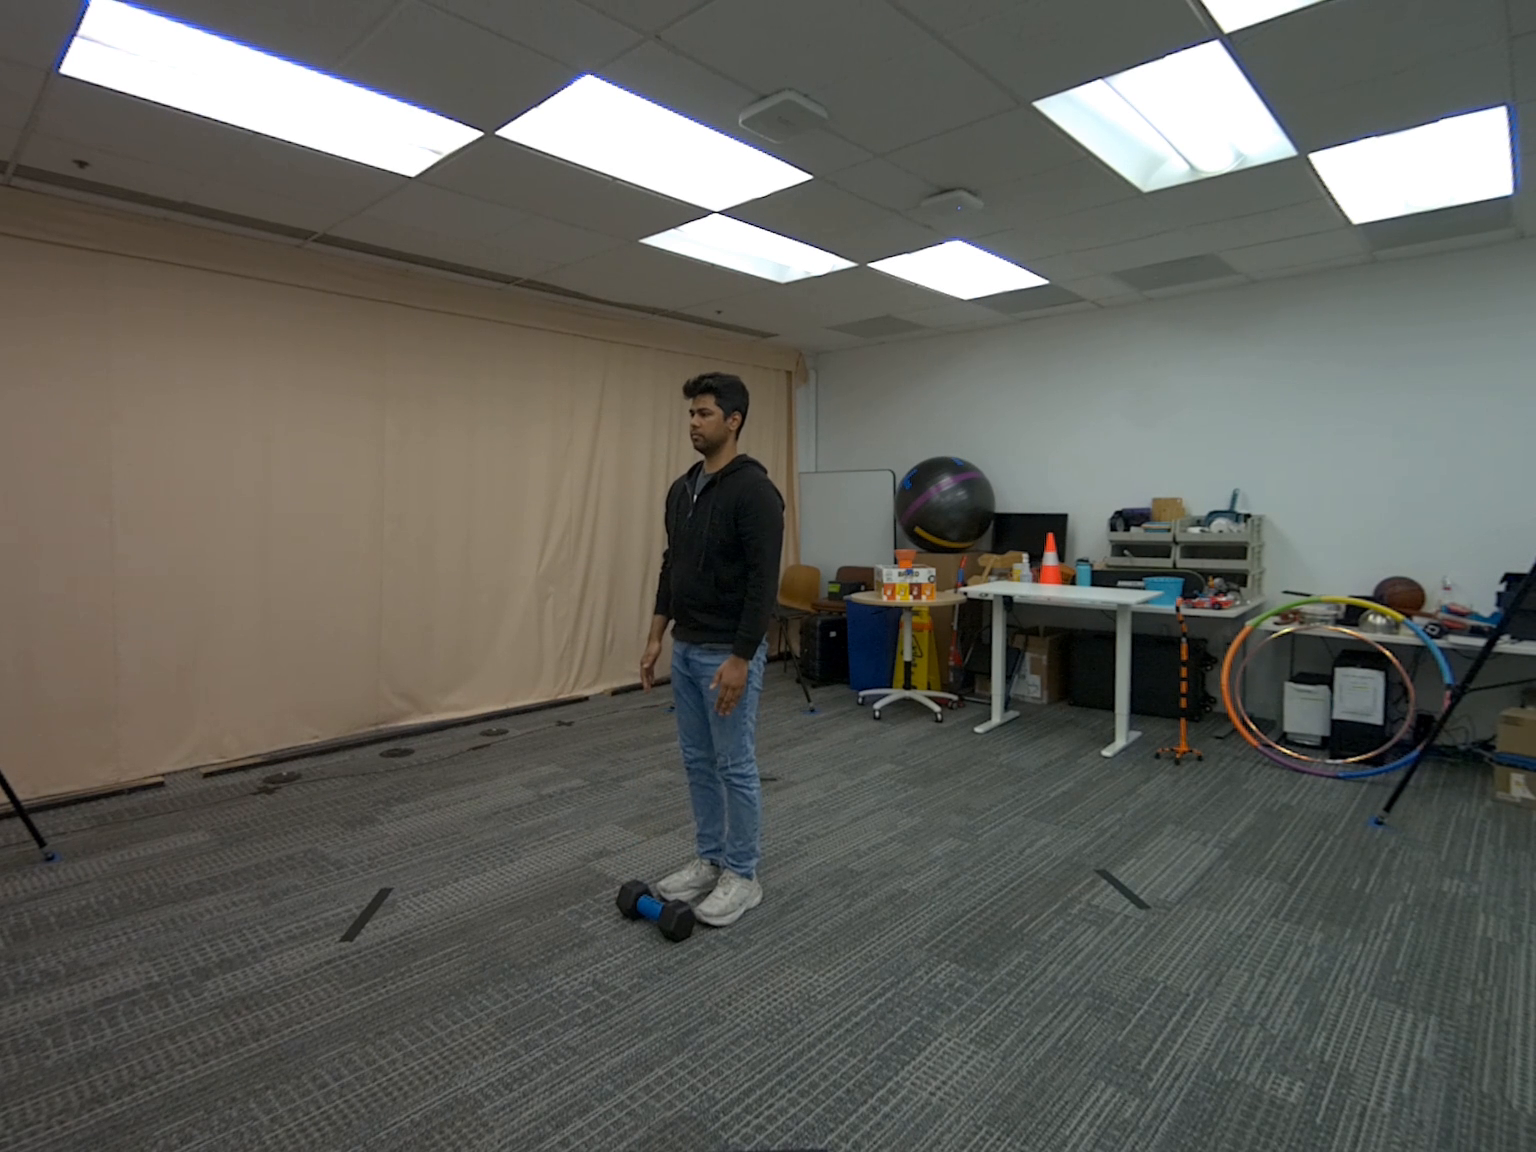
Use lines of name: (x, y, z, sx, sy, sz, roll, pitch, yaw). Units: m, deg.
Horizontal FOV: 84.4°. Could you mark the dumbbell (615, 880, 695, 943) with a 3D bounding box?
dumbbell: (-0.373, 1.109, 2.793, 0.303, 0.108, 0.119, 4, 7, 44)
